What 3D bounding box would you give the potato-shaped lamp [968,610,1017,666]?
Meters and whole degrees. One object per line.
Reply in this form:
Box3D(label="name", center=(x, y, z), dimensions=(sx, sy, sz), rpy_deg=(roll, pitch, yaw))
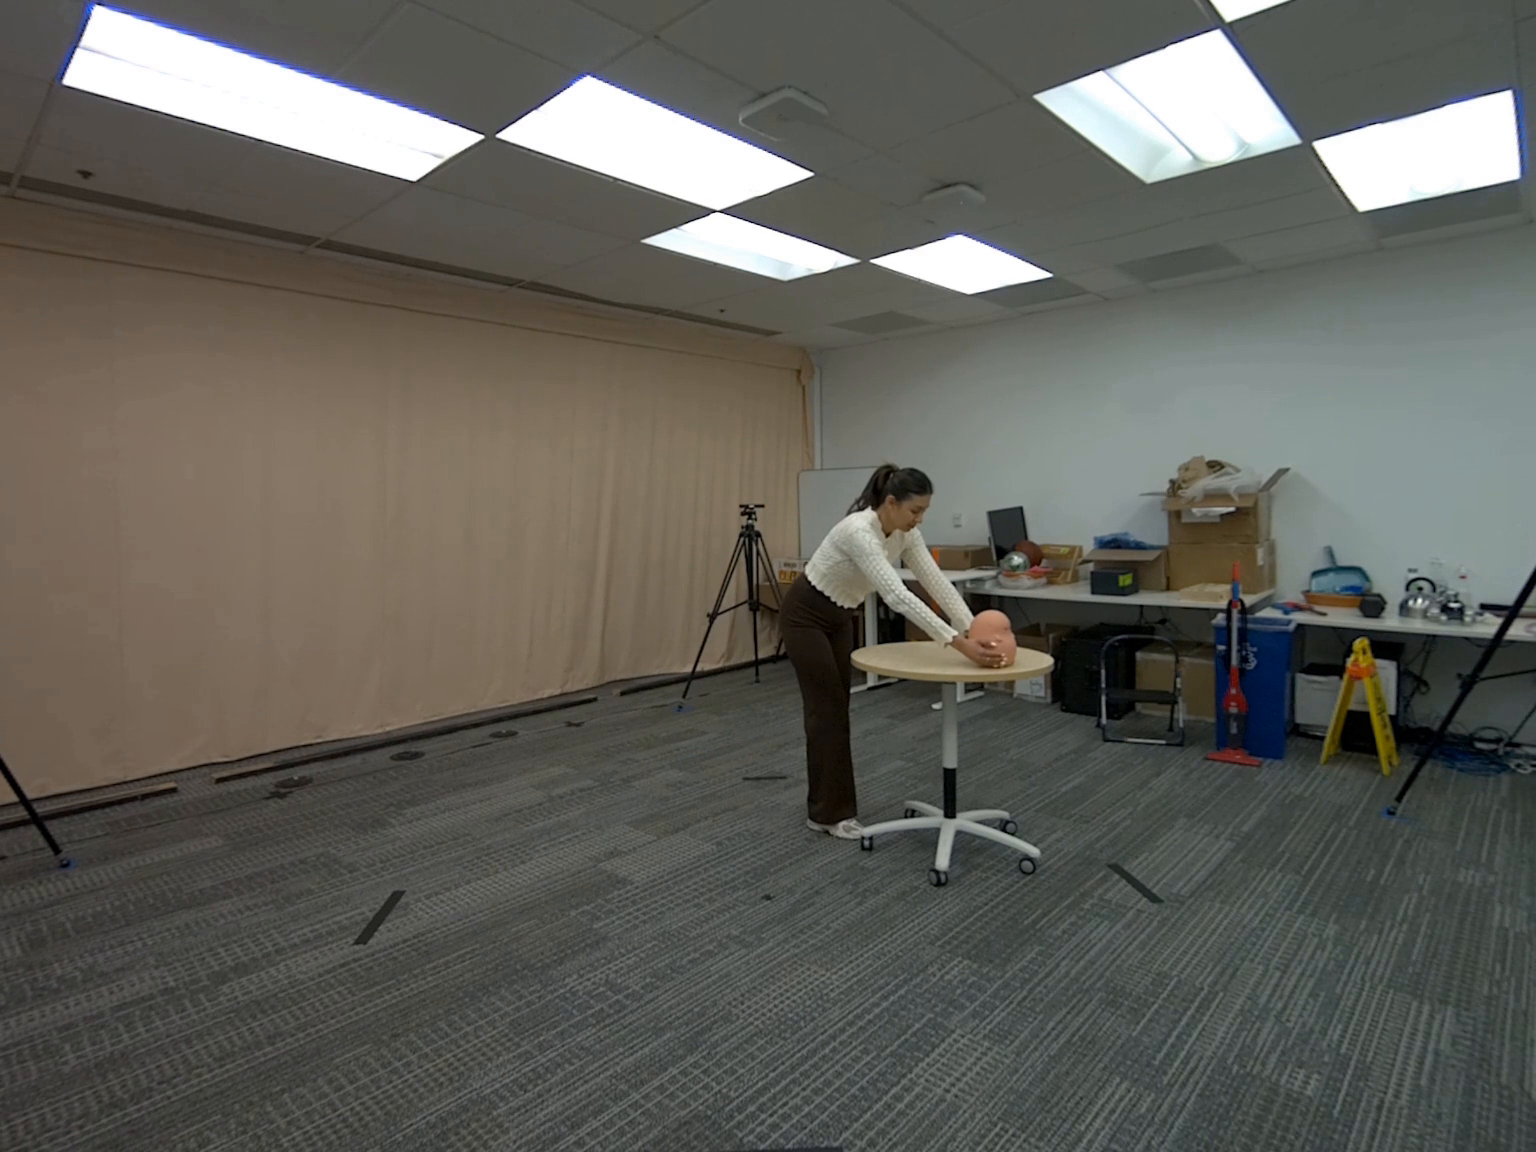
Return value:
Box3D(label="potato-shaped lamp", center=(0.837, 0.229, 3.099), dimensions=(0.177, 0.197, 0.159), rpy_deg=(6, 5, 43))
